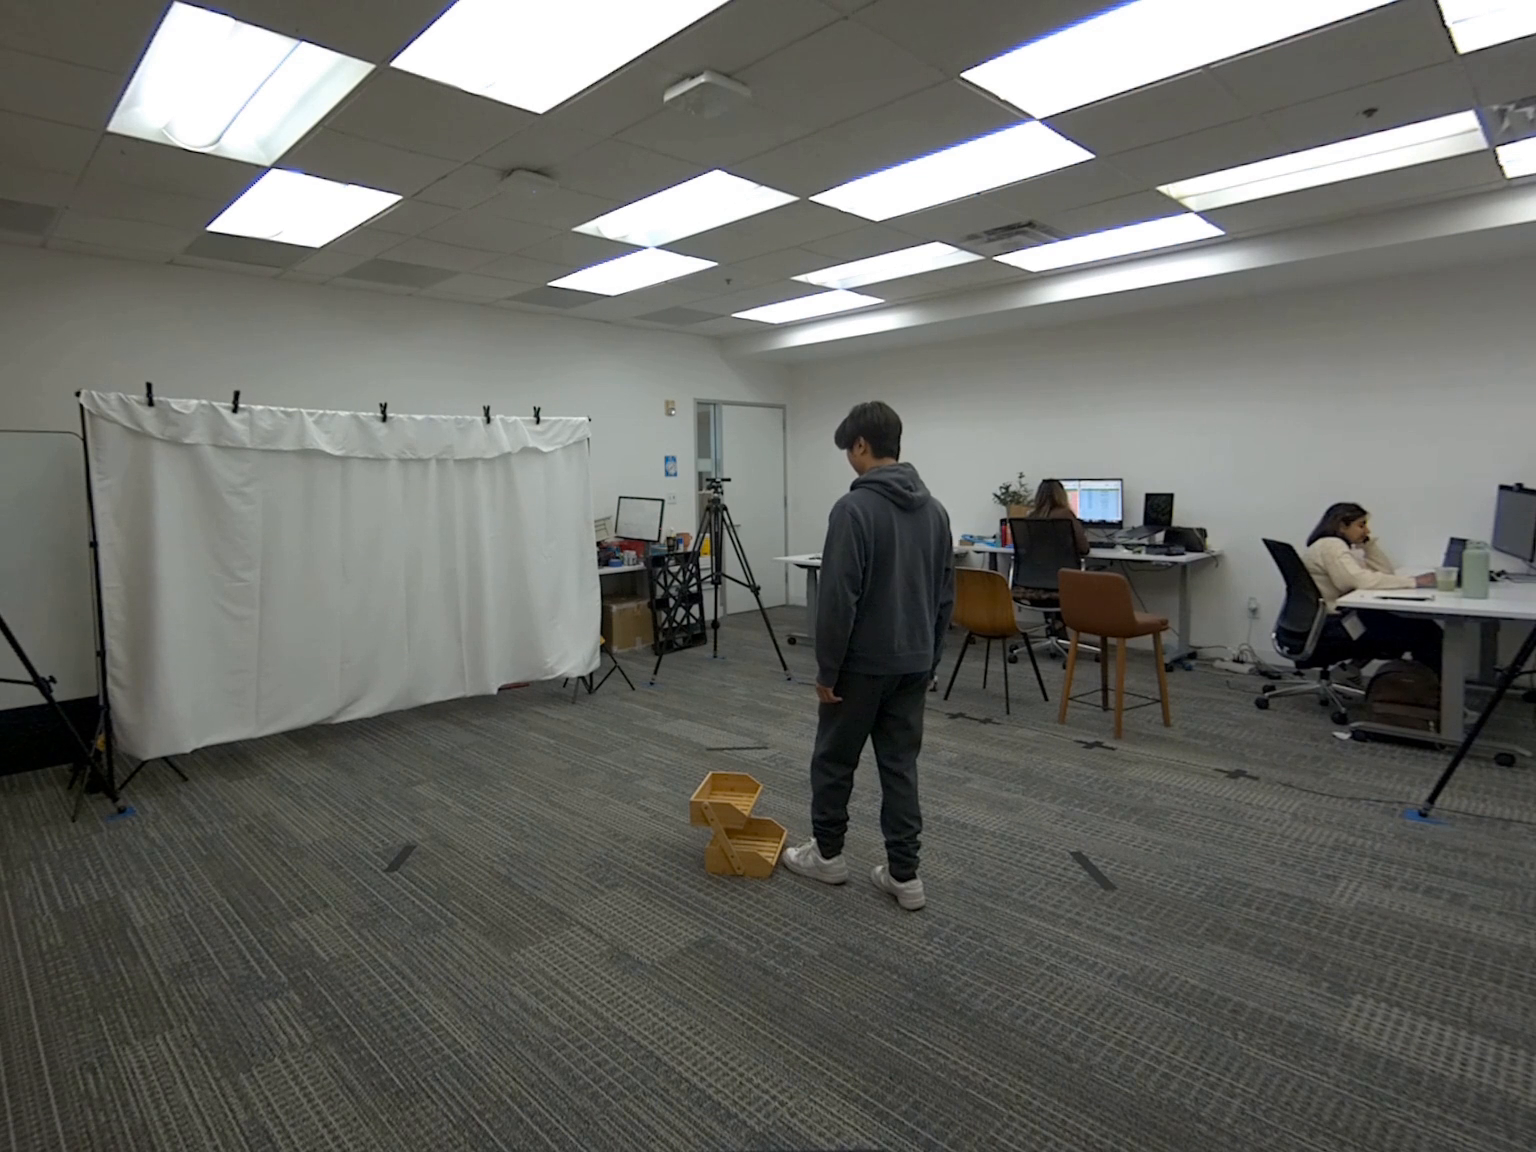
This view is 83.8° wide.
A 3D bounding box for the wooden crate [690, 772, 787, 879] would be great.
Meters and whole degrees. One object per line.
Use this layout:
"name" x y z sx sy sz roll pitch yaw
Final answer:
"wooden crate" -0.092 0.907 3.153 0.306 0.272 0.322 0 5 12
